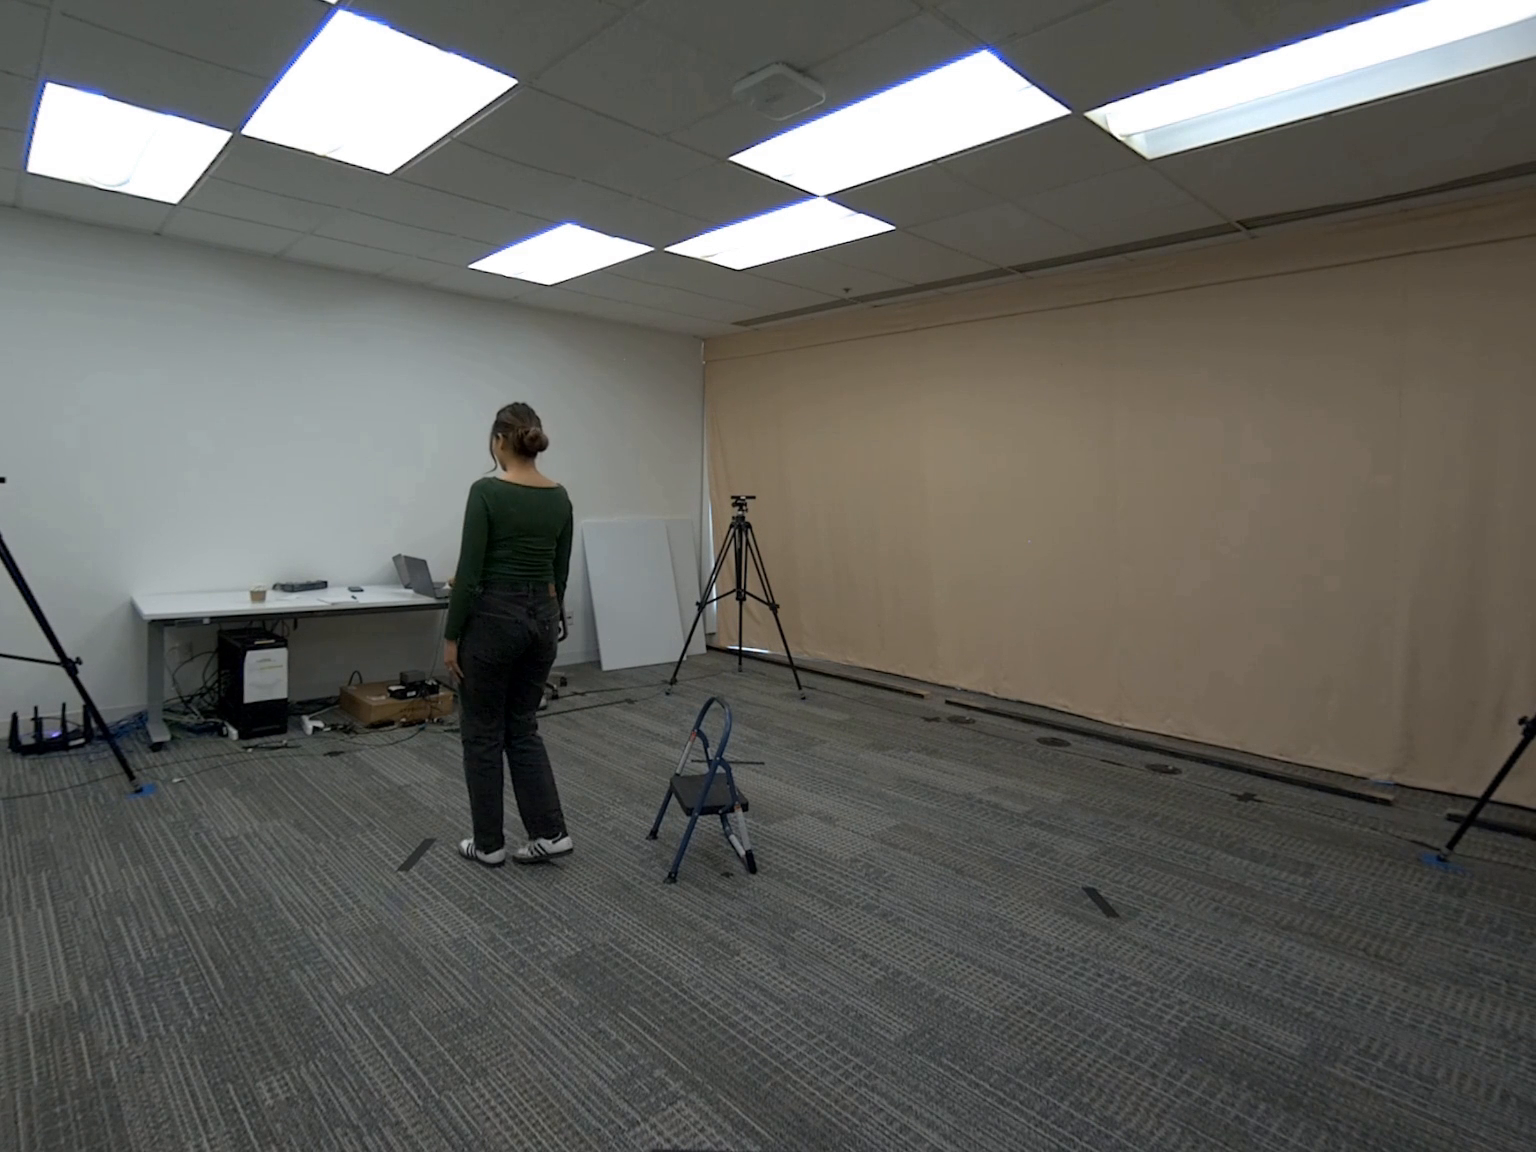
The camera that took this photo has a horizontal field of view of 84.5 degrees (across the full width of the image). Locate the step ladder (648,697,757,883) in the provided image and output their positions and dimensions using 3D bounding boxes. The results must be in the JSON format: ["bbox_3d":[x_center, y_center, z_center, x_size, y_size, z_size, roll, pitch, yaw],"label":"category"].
[{"bbox_3d":[-0.265,0.783,3.249,0.345,0.604,0.437,0,4,-17],"label":"step ladder"}]
